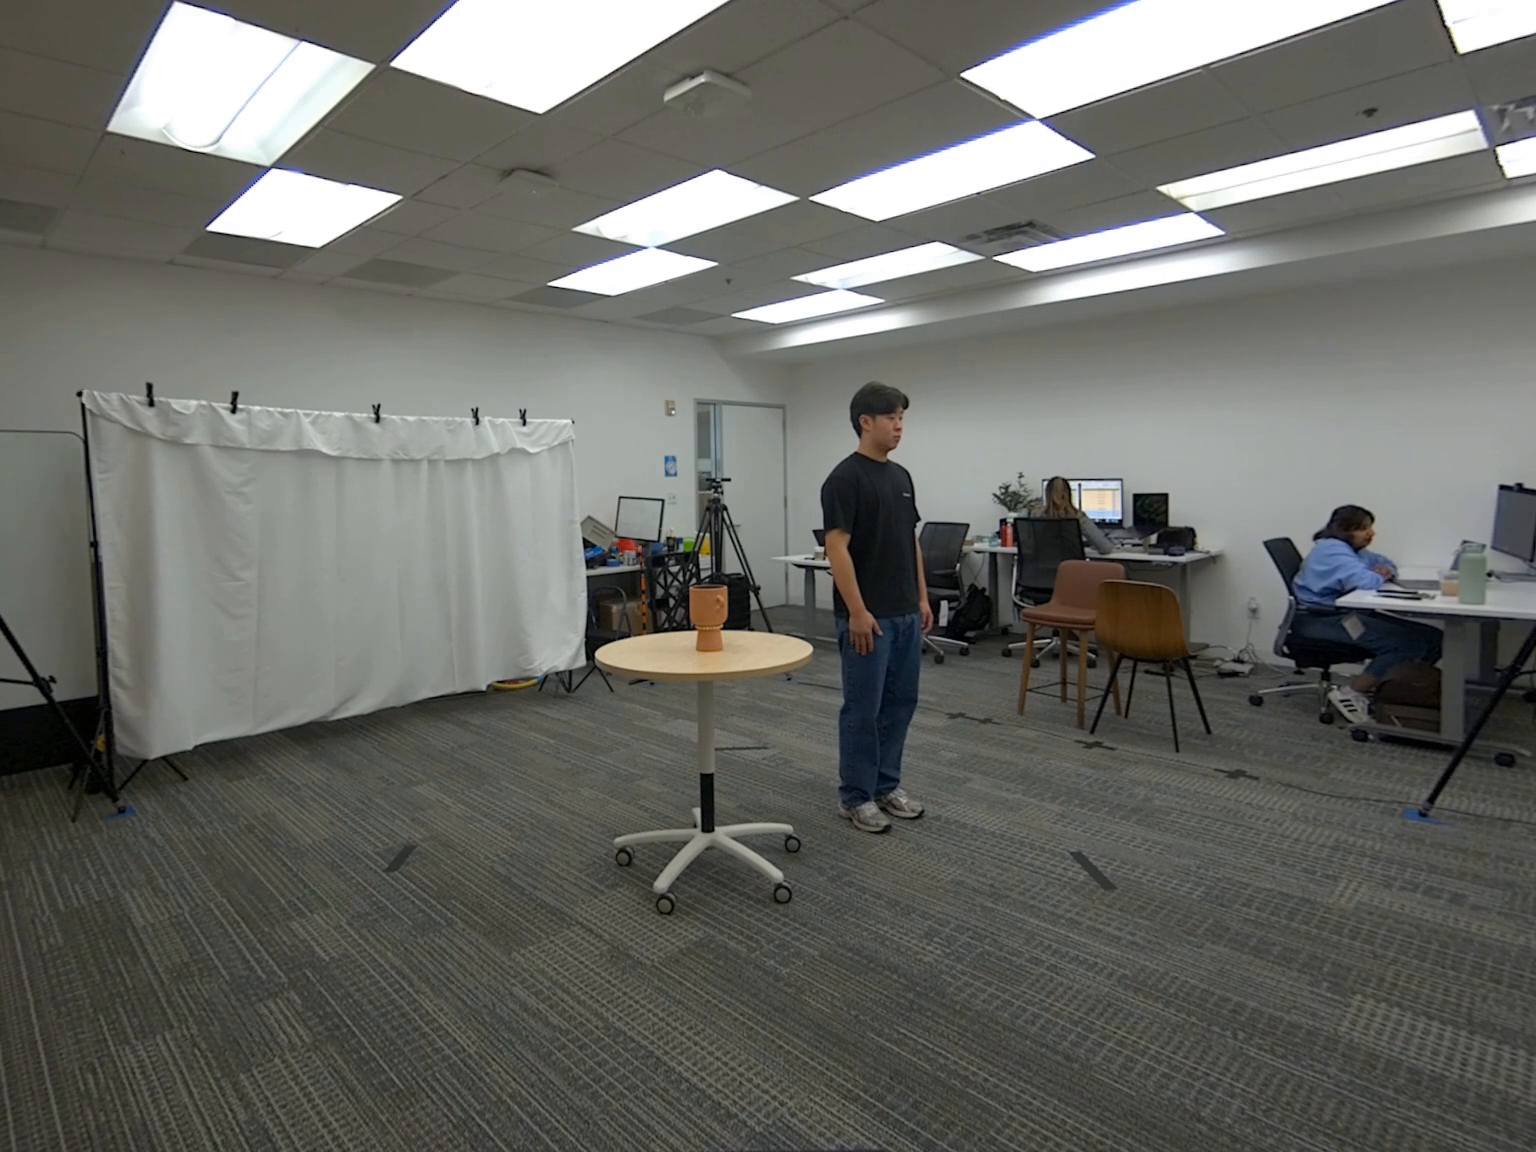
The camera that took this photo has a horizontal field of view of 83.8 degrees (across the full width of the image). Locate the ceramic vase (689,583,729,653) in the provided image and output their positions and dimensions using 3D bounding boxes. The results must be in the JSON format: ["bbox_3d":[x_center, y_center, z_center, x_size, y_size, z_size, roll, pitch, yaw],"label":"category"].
[{"bbox_3d":[-0.203,0.152,3.008,0.136,0.219,0.158,0,5,8],"label":"ceramic vase"}]
